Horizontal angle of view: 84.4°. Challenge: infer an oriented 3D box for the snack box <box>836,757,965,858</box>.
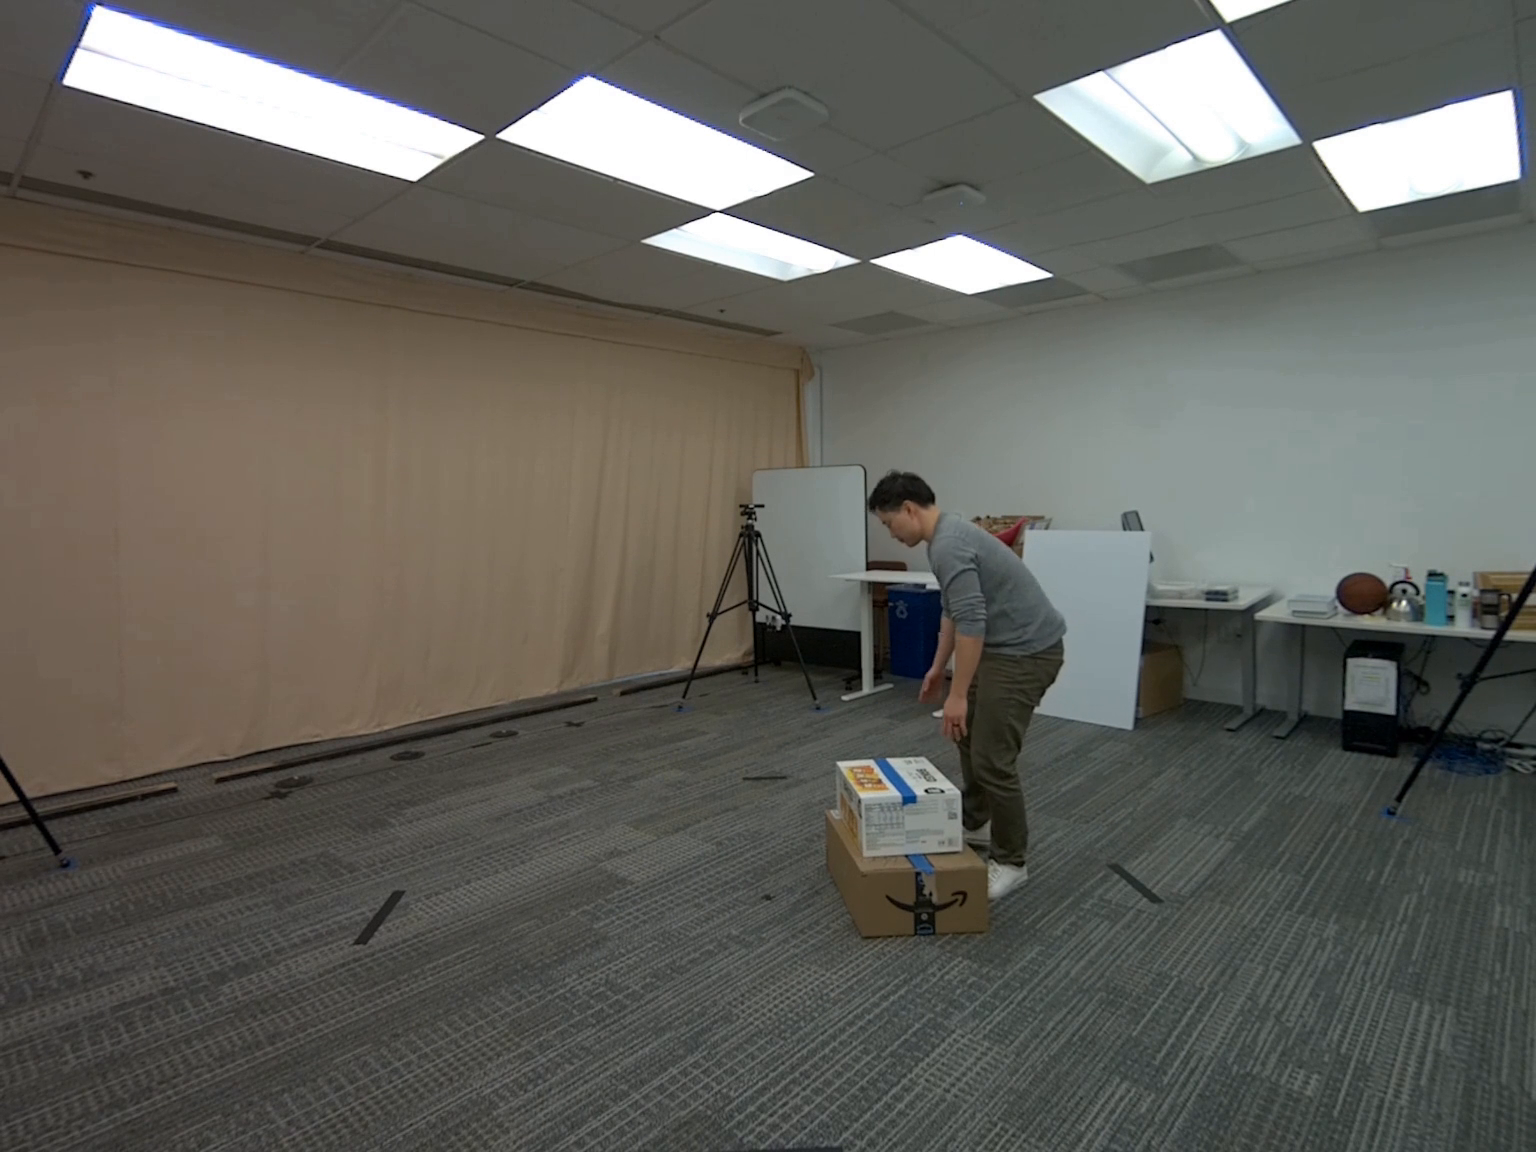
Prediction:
[{"bbox_3d":[0.459,0.814,2.998,0.339,0.205,0.408,-3,5,-6],"label":"snack box"}]
